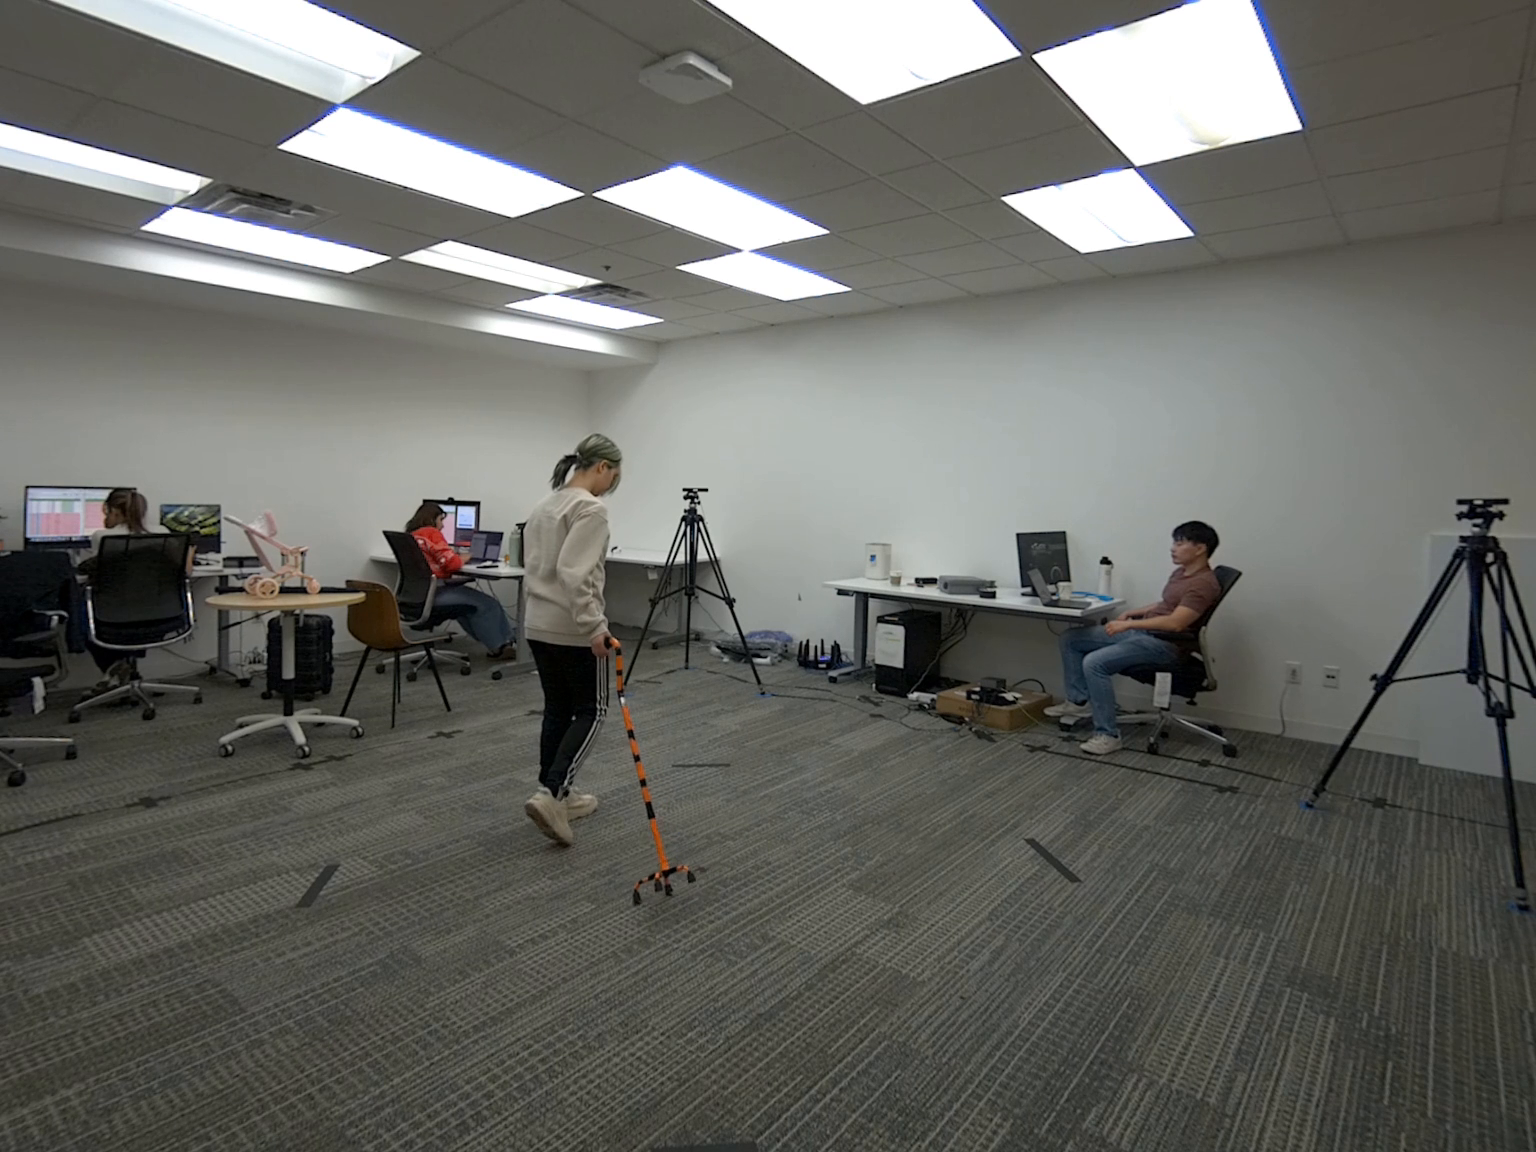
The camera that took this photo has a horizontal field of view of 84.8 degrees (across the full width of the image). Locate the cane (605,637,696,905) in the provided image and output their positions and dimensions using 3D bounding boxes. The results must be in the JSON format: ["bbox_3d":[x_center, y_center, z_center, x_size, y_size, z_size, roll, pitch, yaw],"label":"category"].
[{"bbox_3d":[-0.482,0.642,2.991,0.147,0.933,0.207,-1,-29,-35],"label":"cane"}]
